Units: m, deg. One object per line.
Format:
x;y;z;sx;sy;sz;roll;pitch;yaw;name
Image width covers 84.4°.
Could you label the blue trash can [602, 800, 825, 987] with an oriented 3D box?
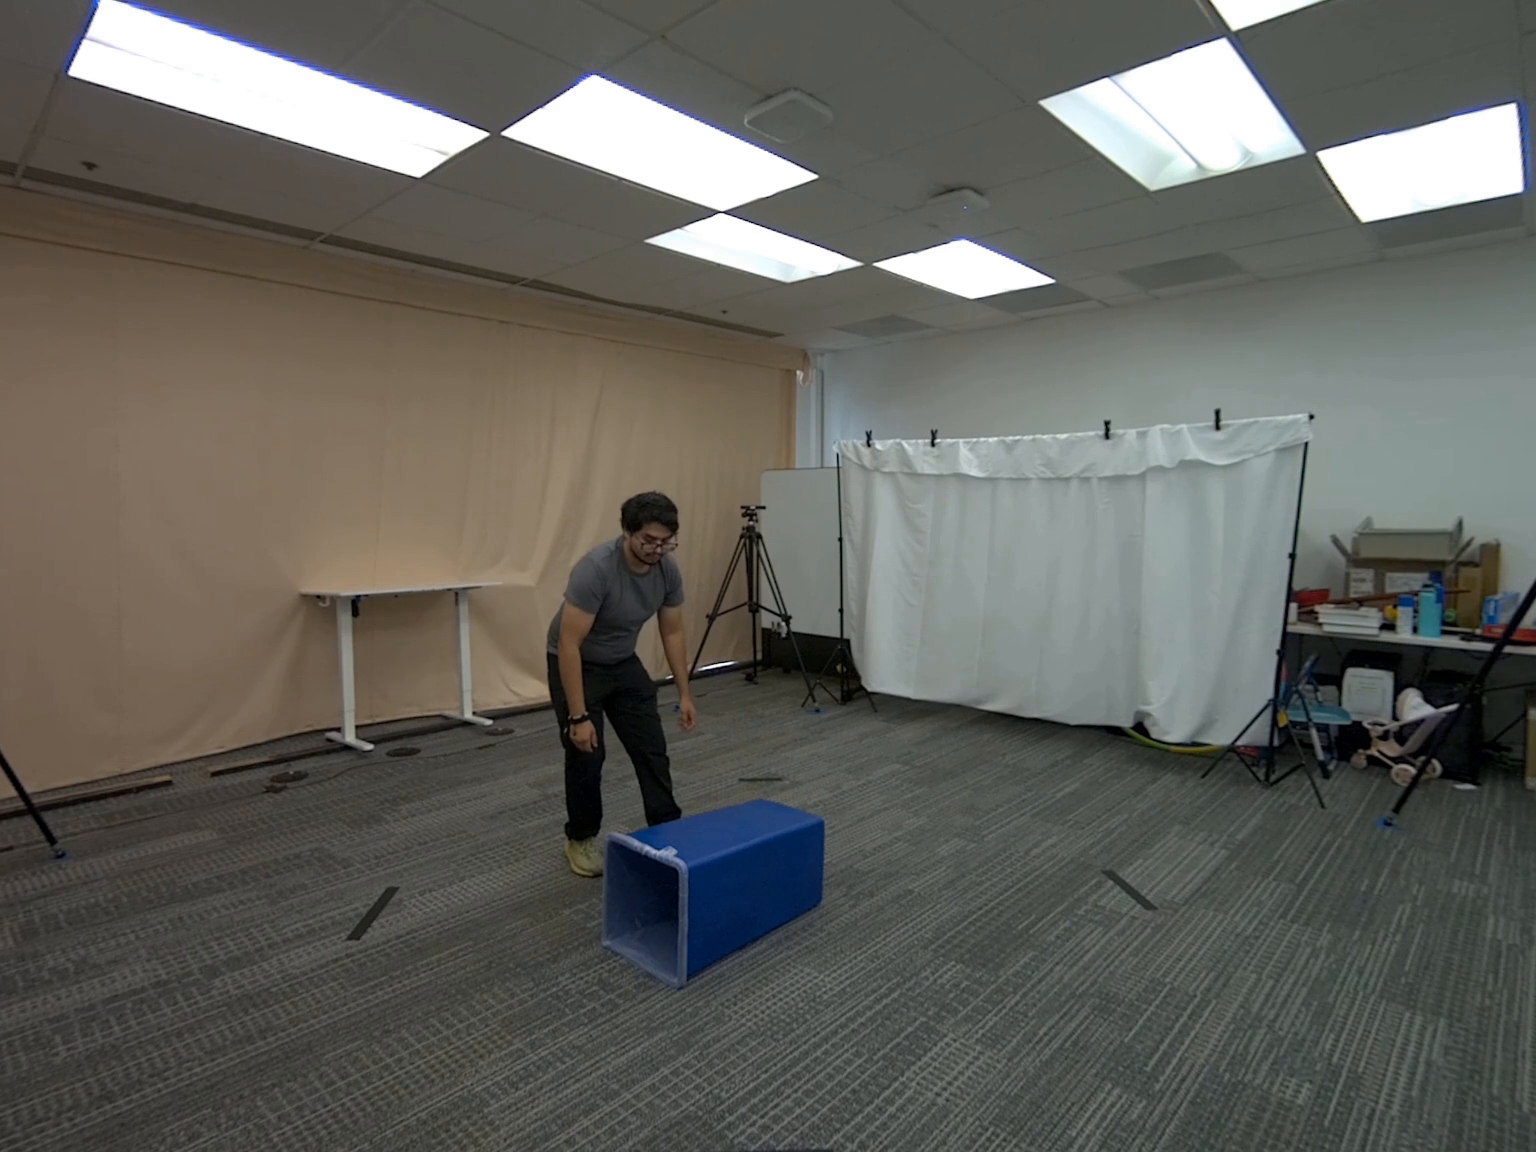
-0.141;0.990;2.781;0.386;0.378;0.691;2;3;44;blue trash can
